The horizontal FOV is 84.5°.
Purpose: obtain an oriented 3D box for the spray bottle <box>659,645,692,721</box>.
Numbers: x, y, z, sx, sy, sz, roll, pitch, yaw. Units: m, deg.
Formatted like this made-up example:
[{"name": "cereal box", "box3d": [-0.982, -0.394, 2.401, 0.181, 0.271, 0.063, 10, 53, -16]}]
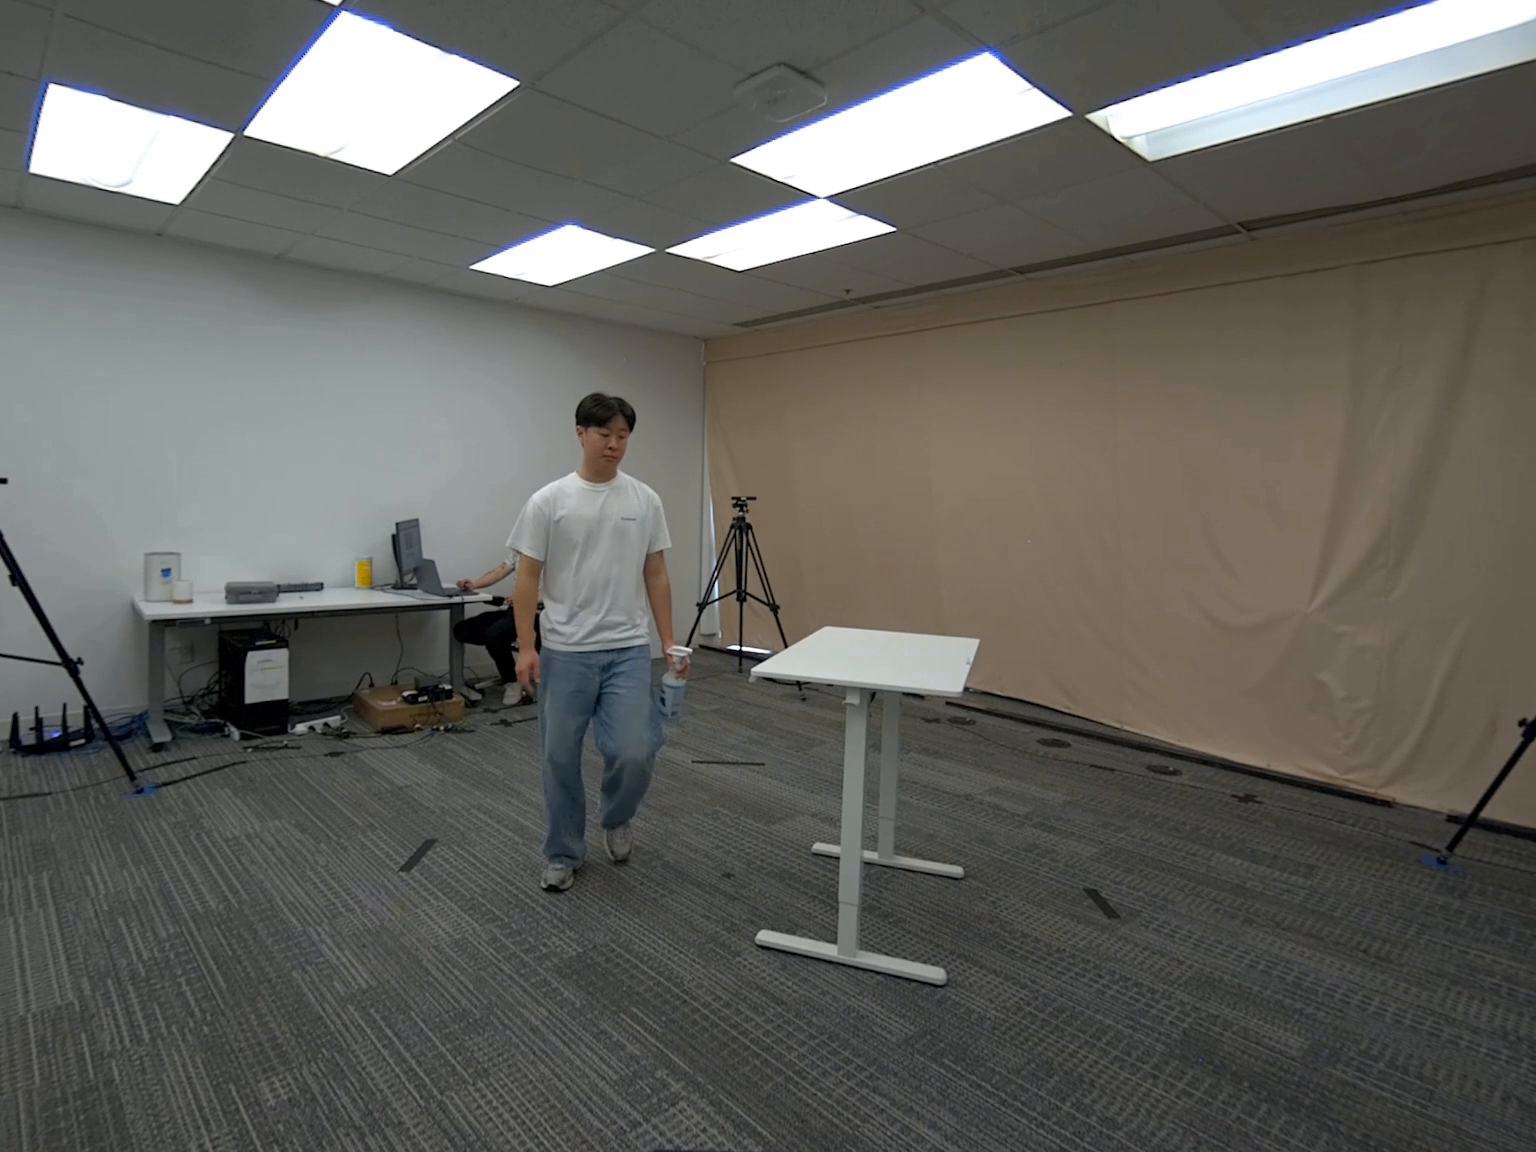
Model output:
[{"name": "spray bottle", "box3d": [-0.351, 0.383, 3.047, 0.092, 0.294, 0.086, 25, 26, 26]}]
